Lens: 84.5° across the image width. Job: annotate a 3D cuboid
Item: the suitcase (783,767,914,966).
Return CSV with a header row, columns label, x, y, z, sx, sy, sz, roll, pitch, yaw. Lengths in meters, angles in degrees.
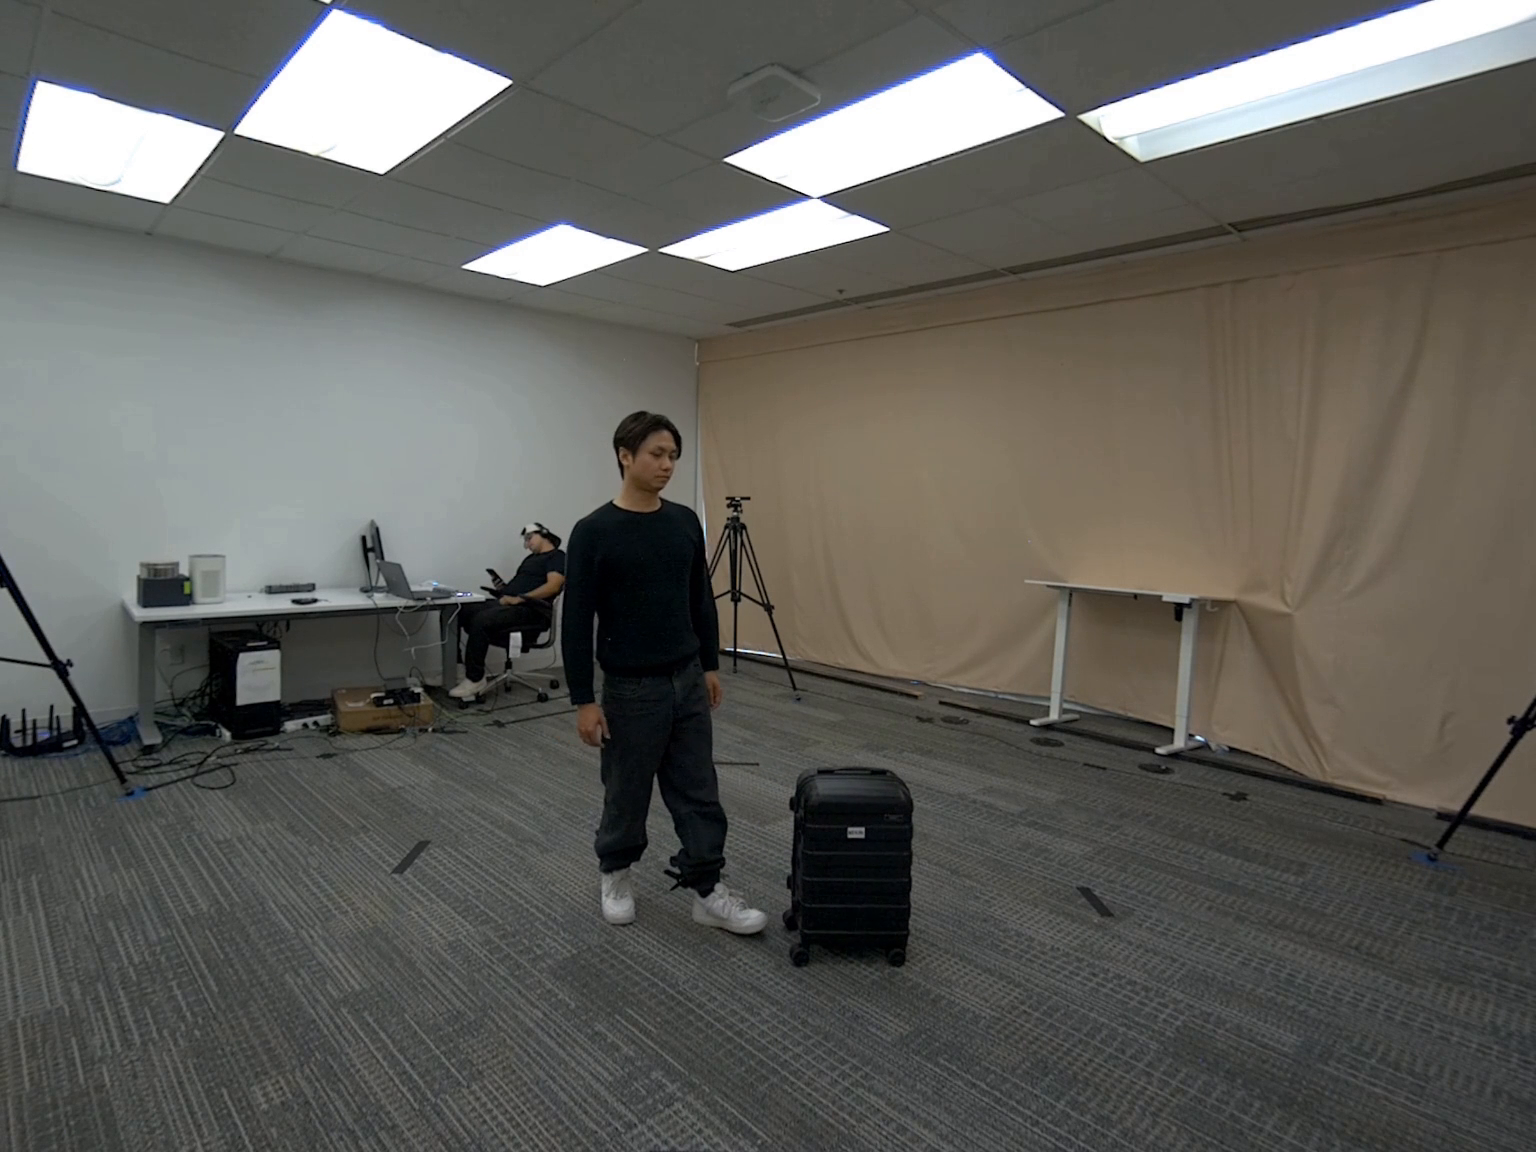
label,x,y,z,sx,sy,sz,roll,pitch,yaw
suitcase,0.258,0.889,2.614,0.374,0.548,0.249,2,3,-3
